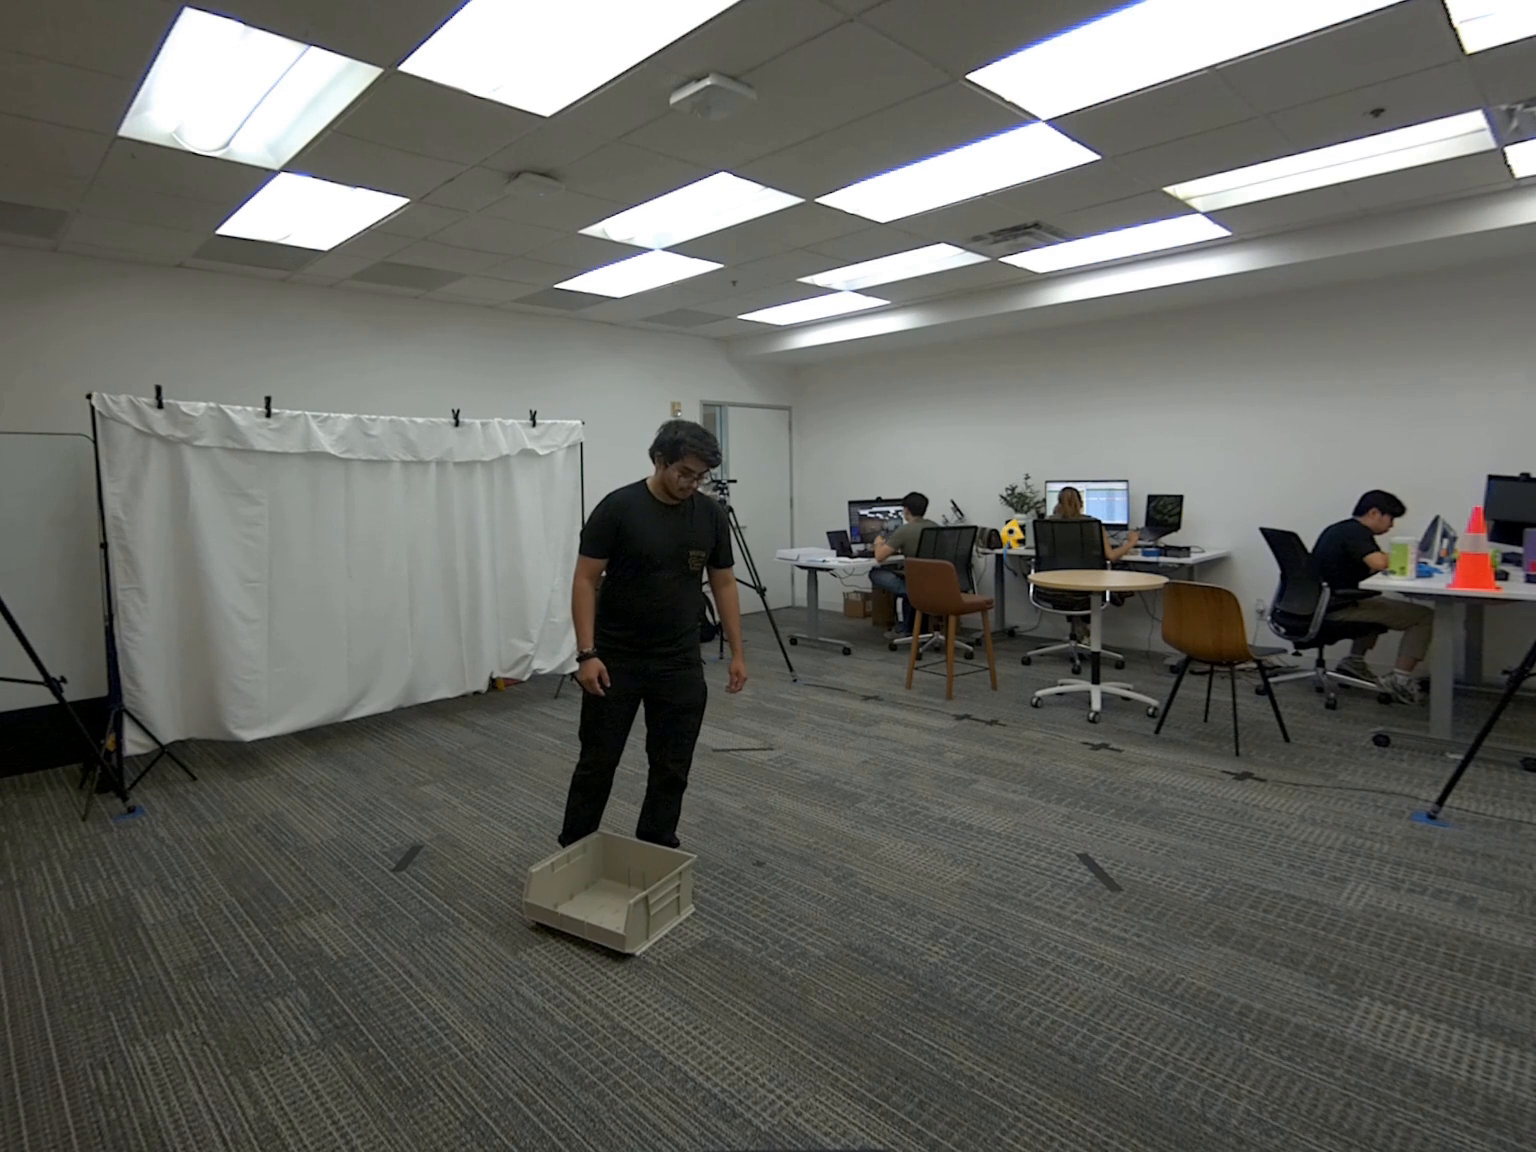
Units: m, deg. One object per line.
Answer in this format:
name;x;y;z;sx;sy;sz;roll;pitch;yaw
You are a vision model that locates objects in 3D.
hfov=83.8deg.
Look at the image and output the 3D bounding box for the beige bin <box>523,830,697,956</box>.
beige bin;-0.493;1.015;2.727;0.433;0.188;0.369;2;7;30
